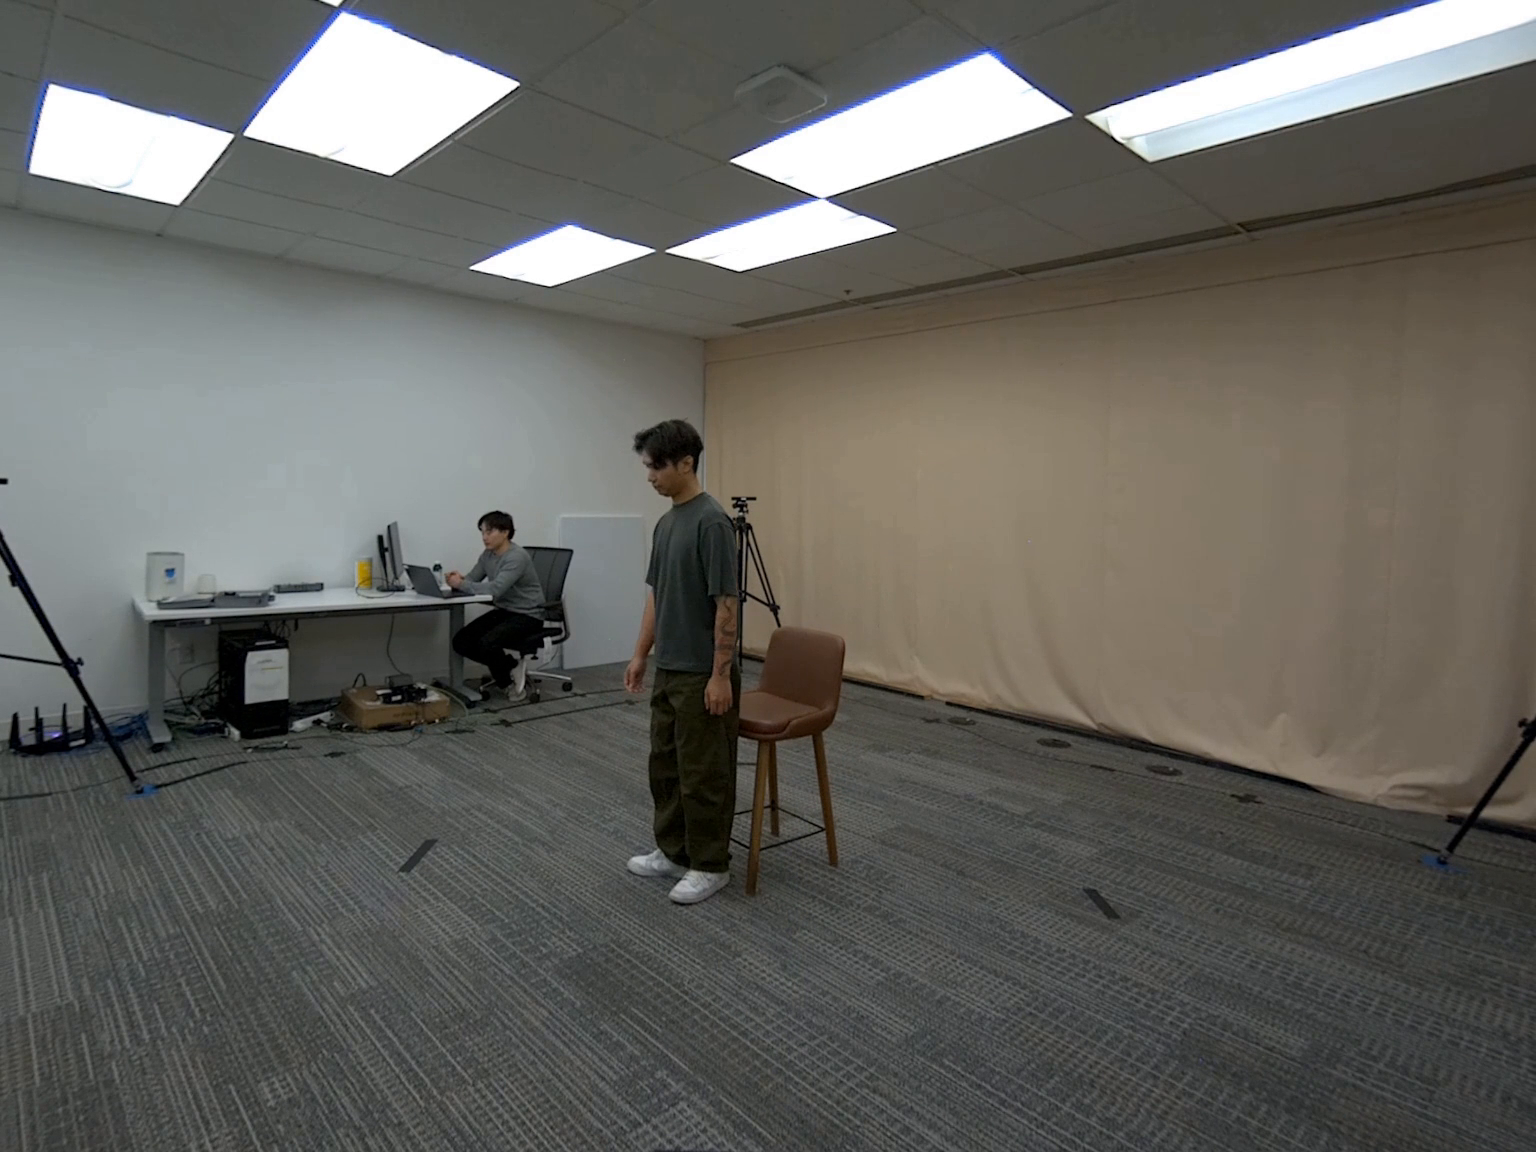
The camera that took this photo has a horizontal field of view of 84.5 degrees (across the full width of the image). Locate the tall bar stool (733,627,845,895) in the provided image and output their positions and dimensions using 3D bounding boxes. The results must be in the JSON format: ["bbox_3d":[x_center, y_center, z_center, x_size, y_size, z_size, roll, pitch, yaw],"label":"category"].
[{"bbox_3d":[-0.013,0.661,3.220,0.457,0.888,0.468,1,2,-39],"label":"tall bar stool"}]
